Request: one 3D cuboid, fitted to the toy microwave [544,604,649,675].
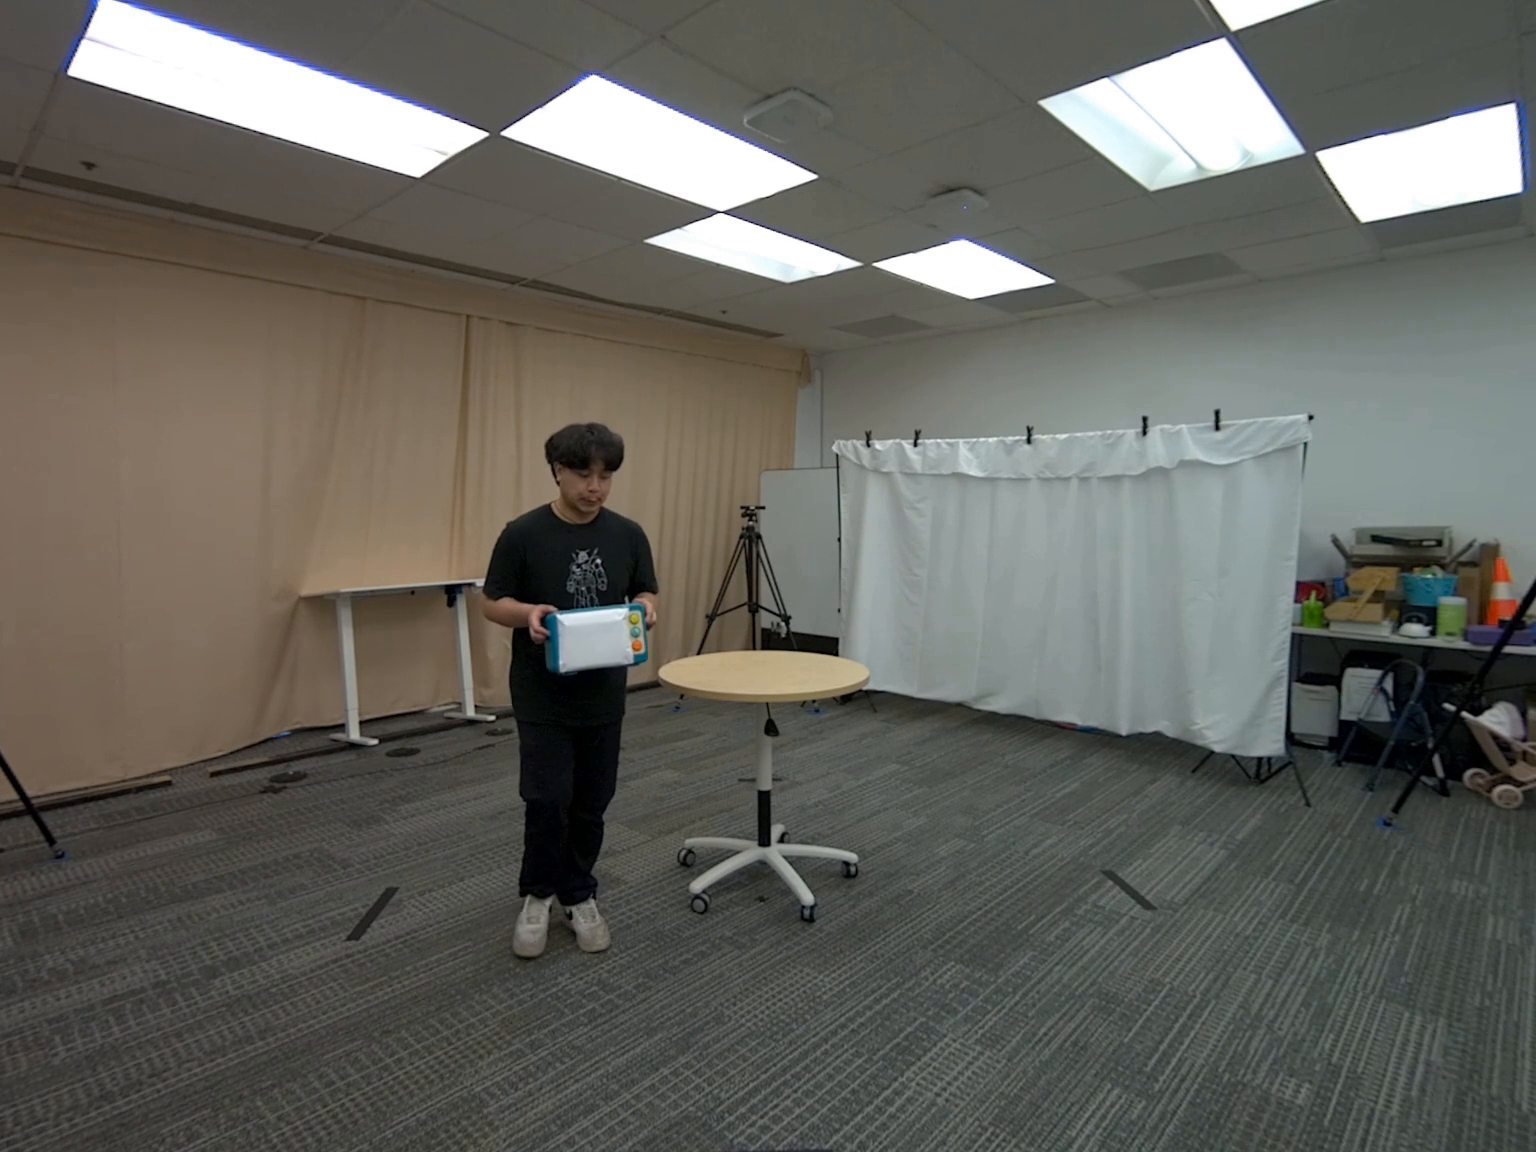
[{"bbox_3d":[-0.506,0.182,2.452,0.280,0.184,0.155,-5,-3,-24],"label":"toy microwave"}]
